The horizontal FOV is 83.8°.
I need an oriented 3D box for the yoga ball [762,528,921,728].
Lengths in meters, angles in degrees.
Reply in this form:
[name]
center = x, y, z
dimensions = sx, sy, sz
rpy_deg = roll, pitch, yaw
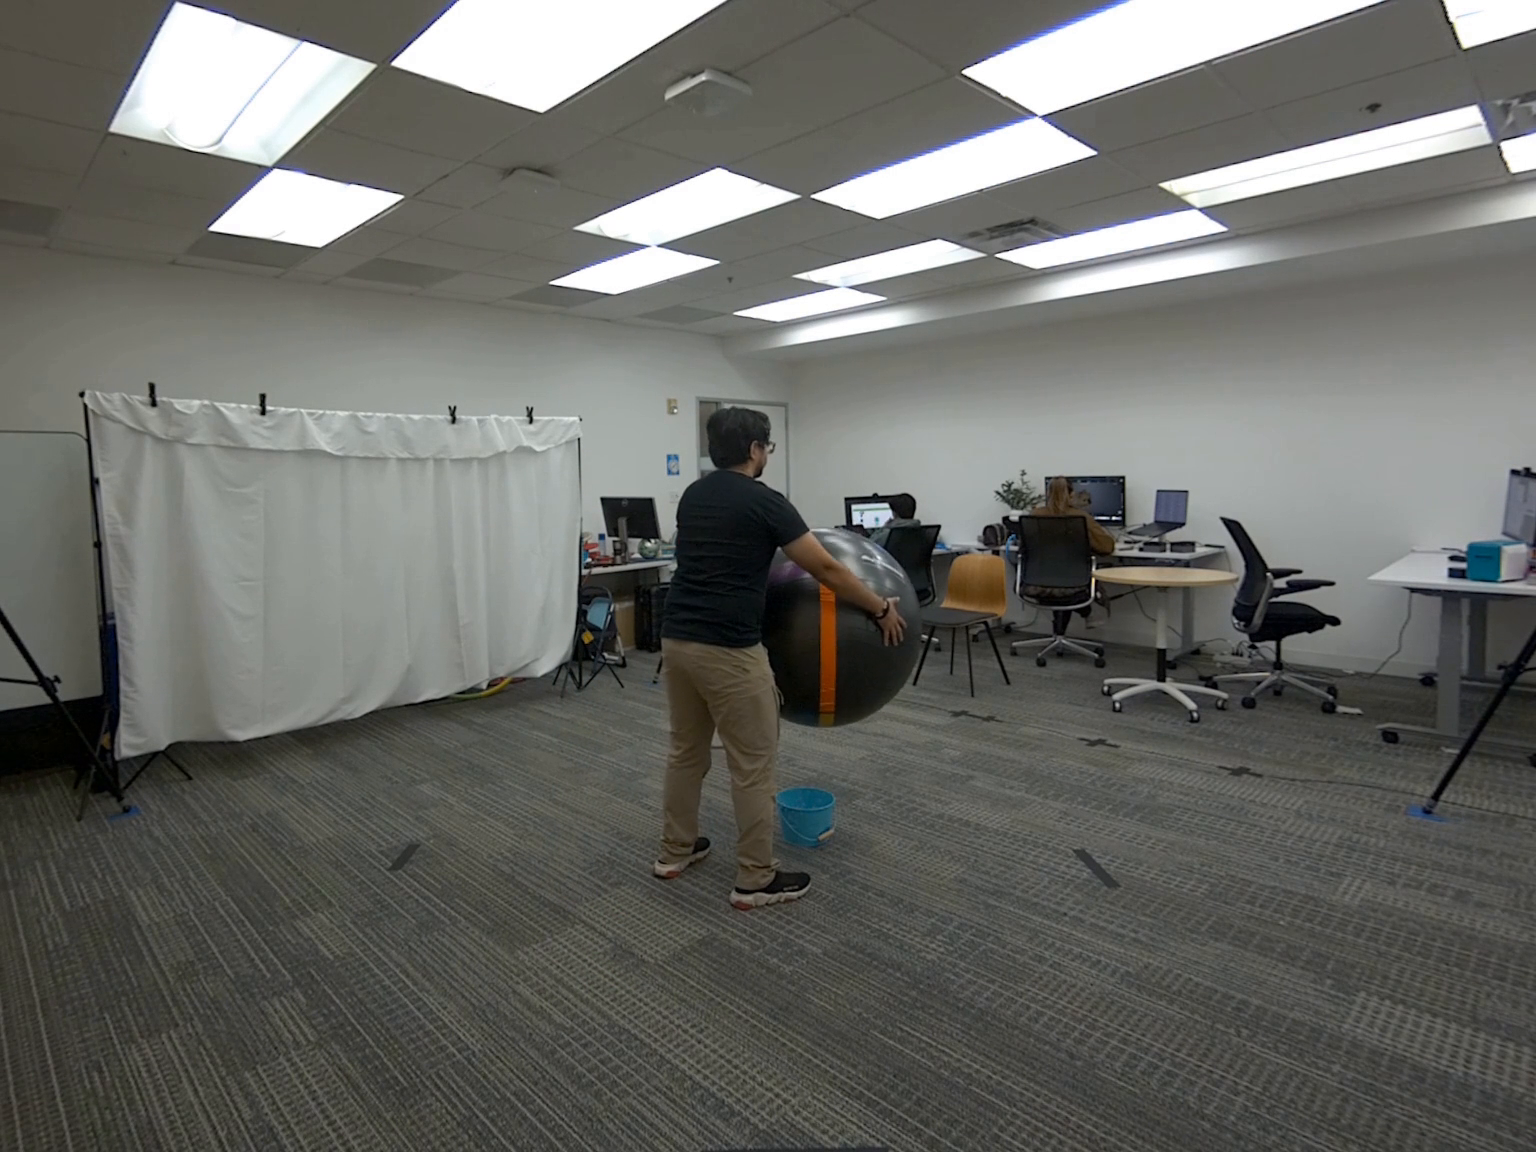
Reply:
[yoga ball]
center = 0.213, 0.199, 3.290
dimensions = 0.757, 0.755, 0.762
rpy_deg = -1, 5, -2
